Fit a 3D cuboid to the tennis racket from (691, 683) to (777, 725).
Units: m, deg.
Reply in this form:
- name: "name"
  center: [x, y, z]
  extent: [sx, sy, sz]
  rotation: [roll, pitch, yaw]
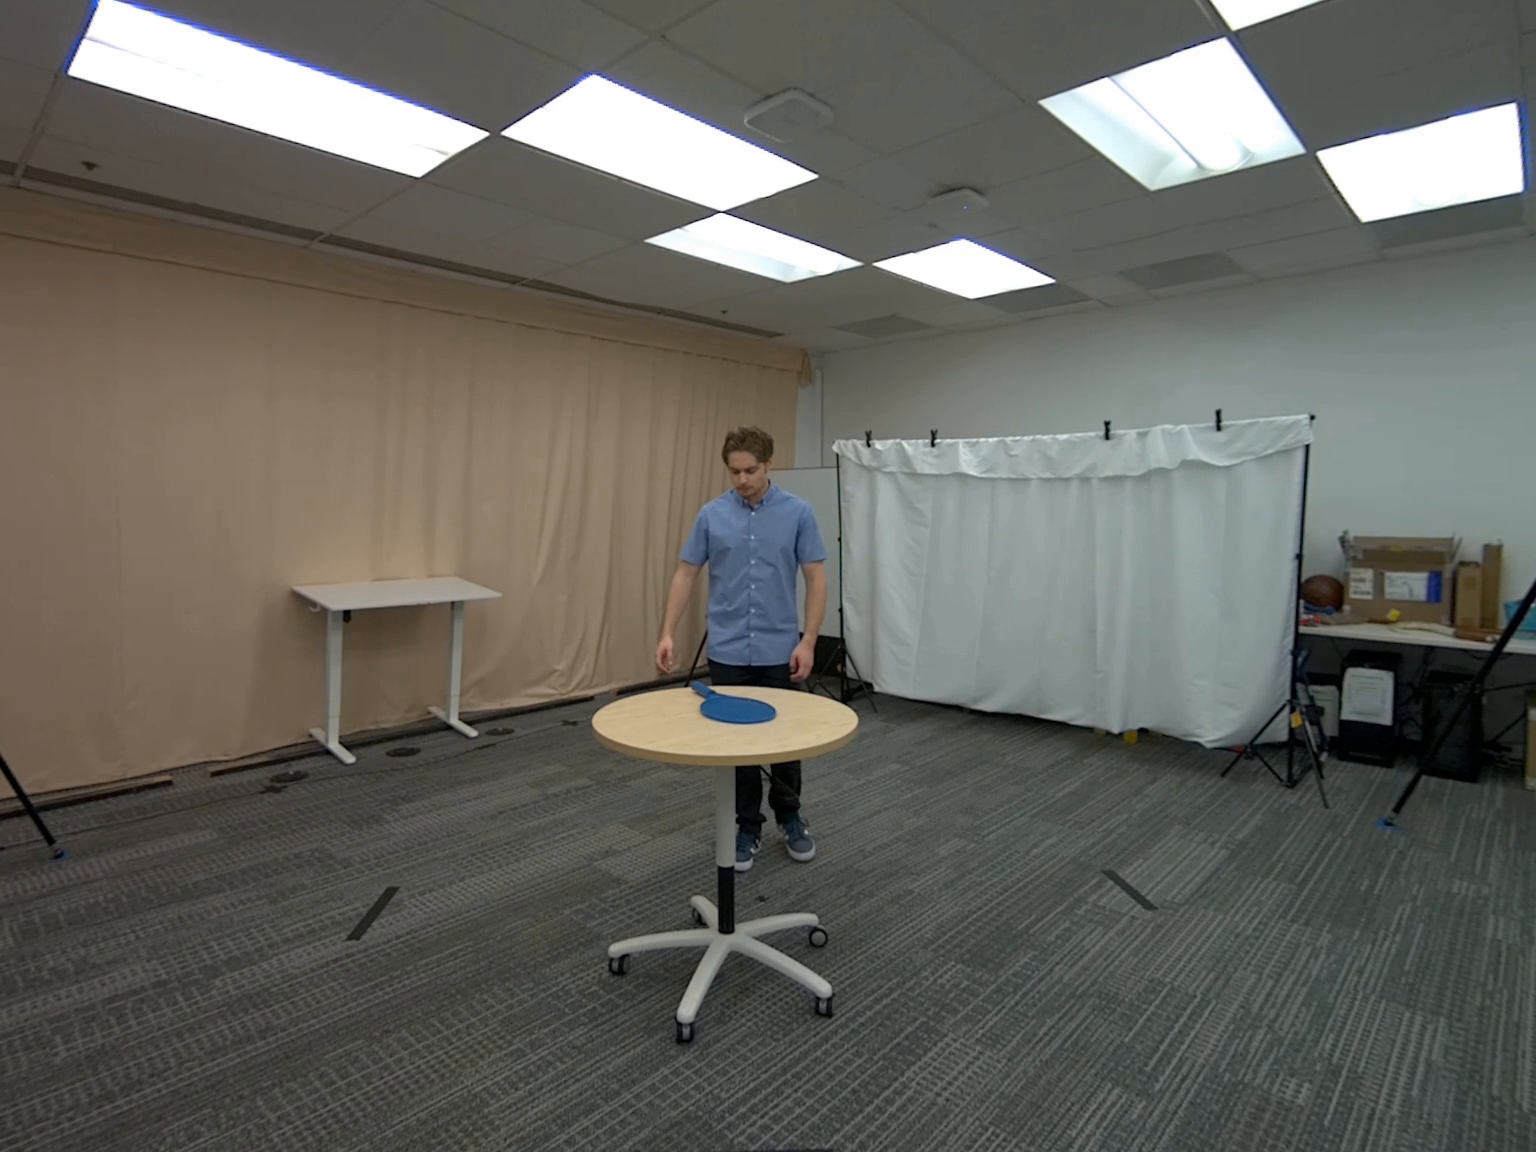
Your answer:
- name: "tennis racket"
  center: [-0.114, 0.385, 2.548]
  extent: [0.209, 0.031, 0.445]
  rotation: [-4, 8, -25]
